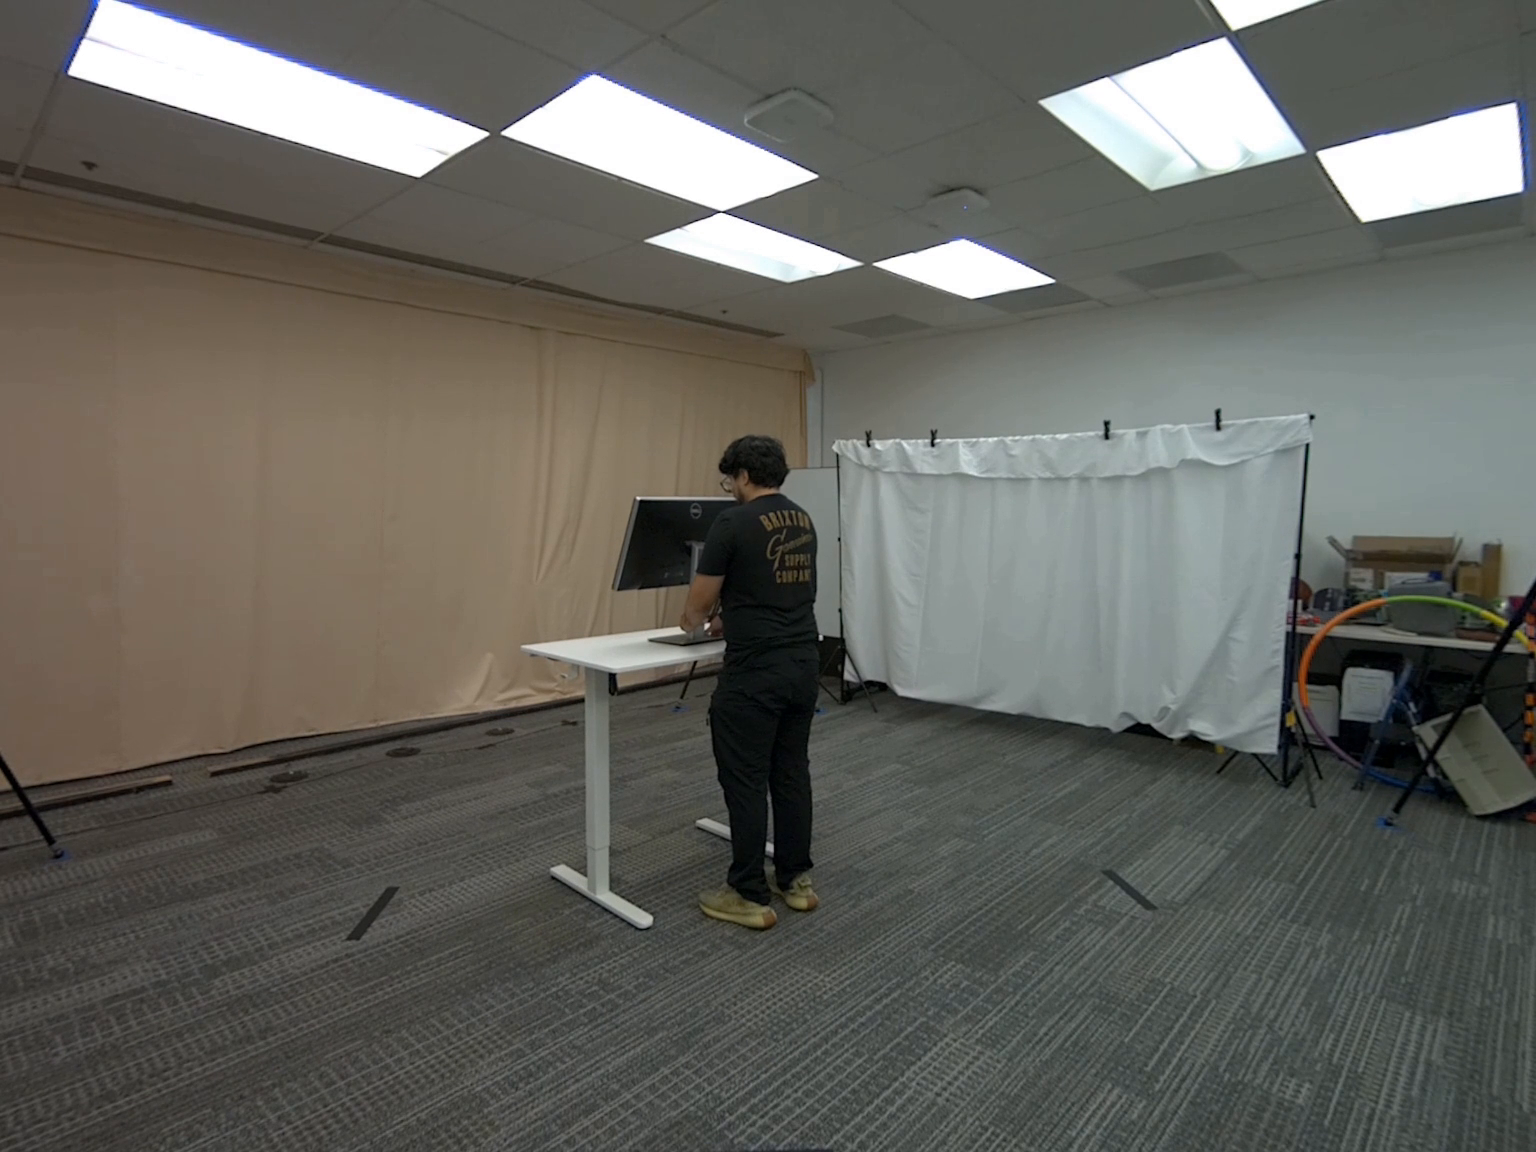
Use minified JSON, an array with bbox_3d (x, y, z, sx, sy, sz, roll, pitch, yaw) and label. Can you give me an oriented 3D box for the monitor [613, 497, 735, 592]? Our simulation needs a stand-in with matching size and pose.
[{"bbox_3d":[-0.288,-0.020,3.170,0.218,0.551,0.548,18,14,38],"label":"monitor"}]
